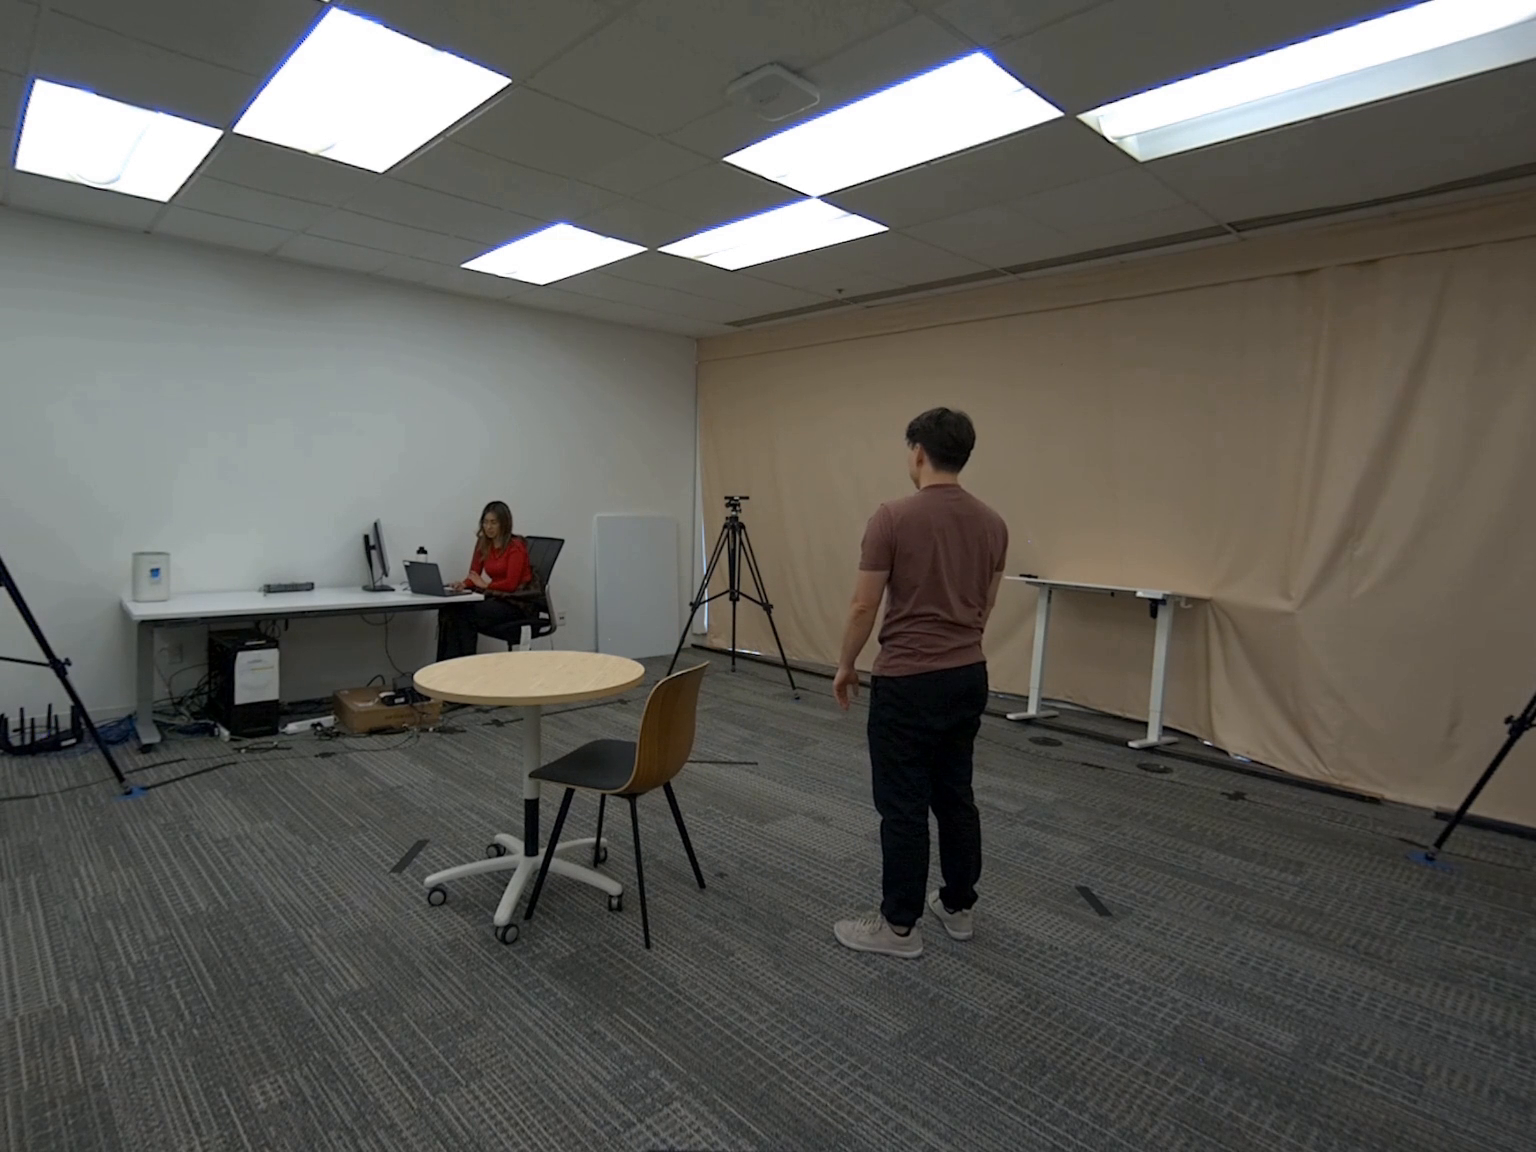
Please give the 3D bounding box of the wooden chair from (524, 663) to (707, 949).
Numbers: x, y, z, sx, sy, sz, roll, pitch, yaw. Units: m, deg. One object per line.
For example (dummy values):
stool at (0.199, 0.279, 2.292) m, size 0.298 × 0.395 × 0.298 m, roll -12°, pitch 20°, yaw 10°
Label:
wooden chair at (-0.502, 0.686, 2.840) m, size 0.532 × 0.874 × 0.471 m, roll 7°, pitch 6°, yaw 21°
